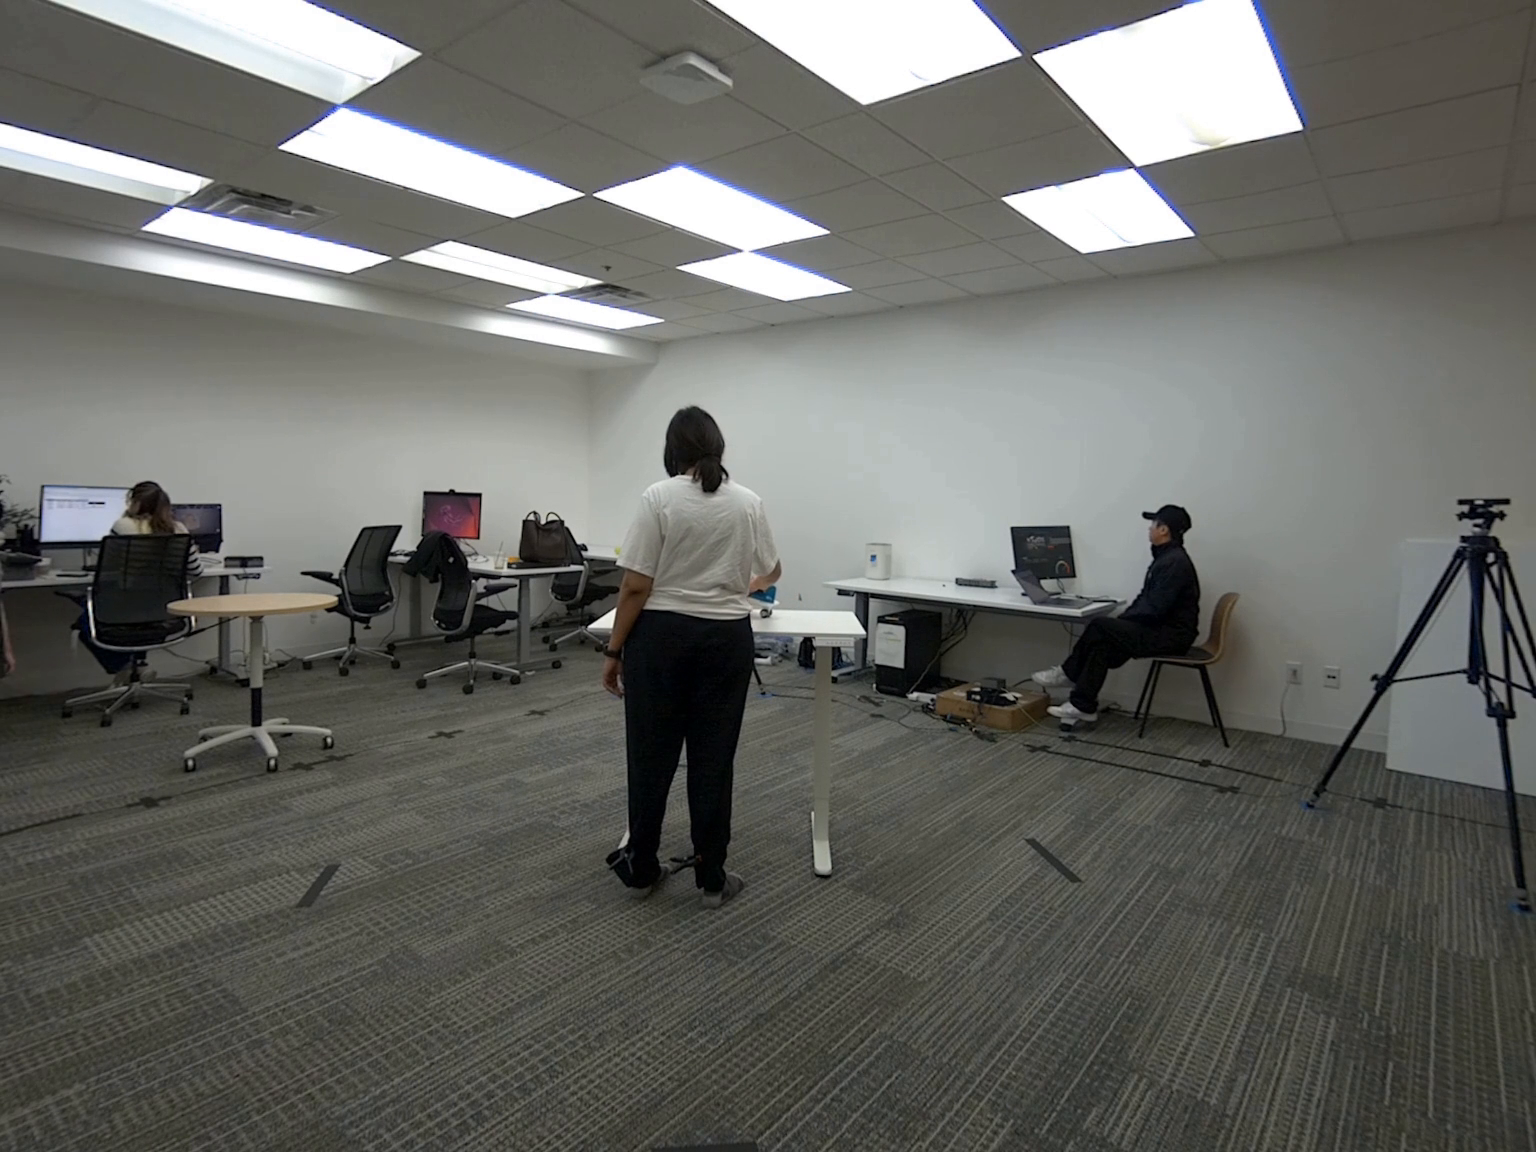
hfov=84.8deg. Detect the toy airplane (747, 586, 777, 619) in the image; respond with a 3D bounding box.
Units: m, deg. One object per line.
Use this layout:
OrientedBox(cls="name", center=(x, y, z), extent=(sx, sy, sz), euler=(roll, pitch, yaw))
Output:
OrientedBox(cls="toy airplane", center=(-0.093, 0.079, 3.460), extent=(0.258, 0.156, 0.252), euler=(0, 4, -3))
